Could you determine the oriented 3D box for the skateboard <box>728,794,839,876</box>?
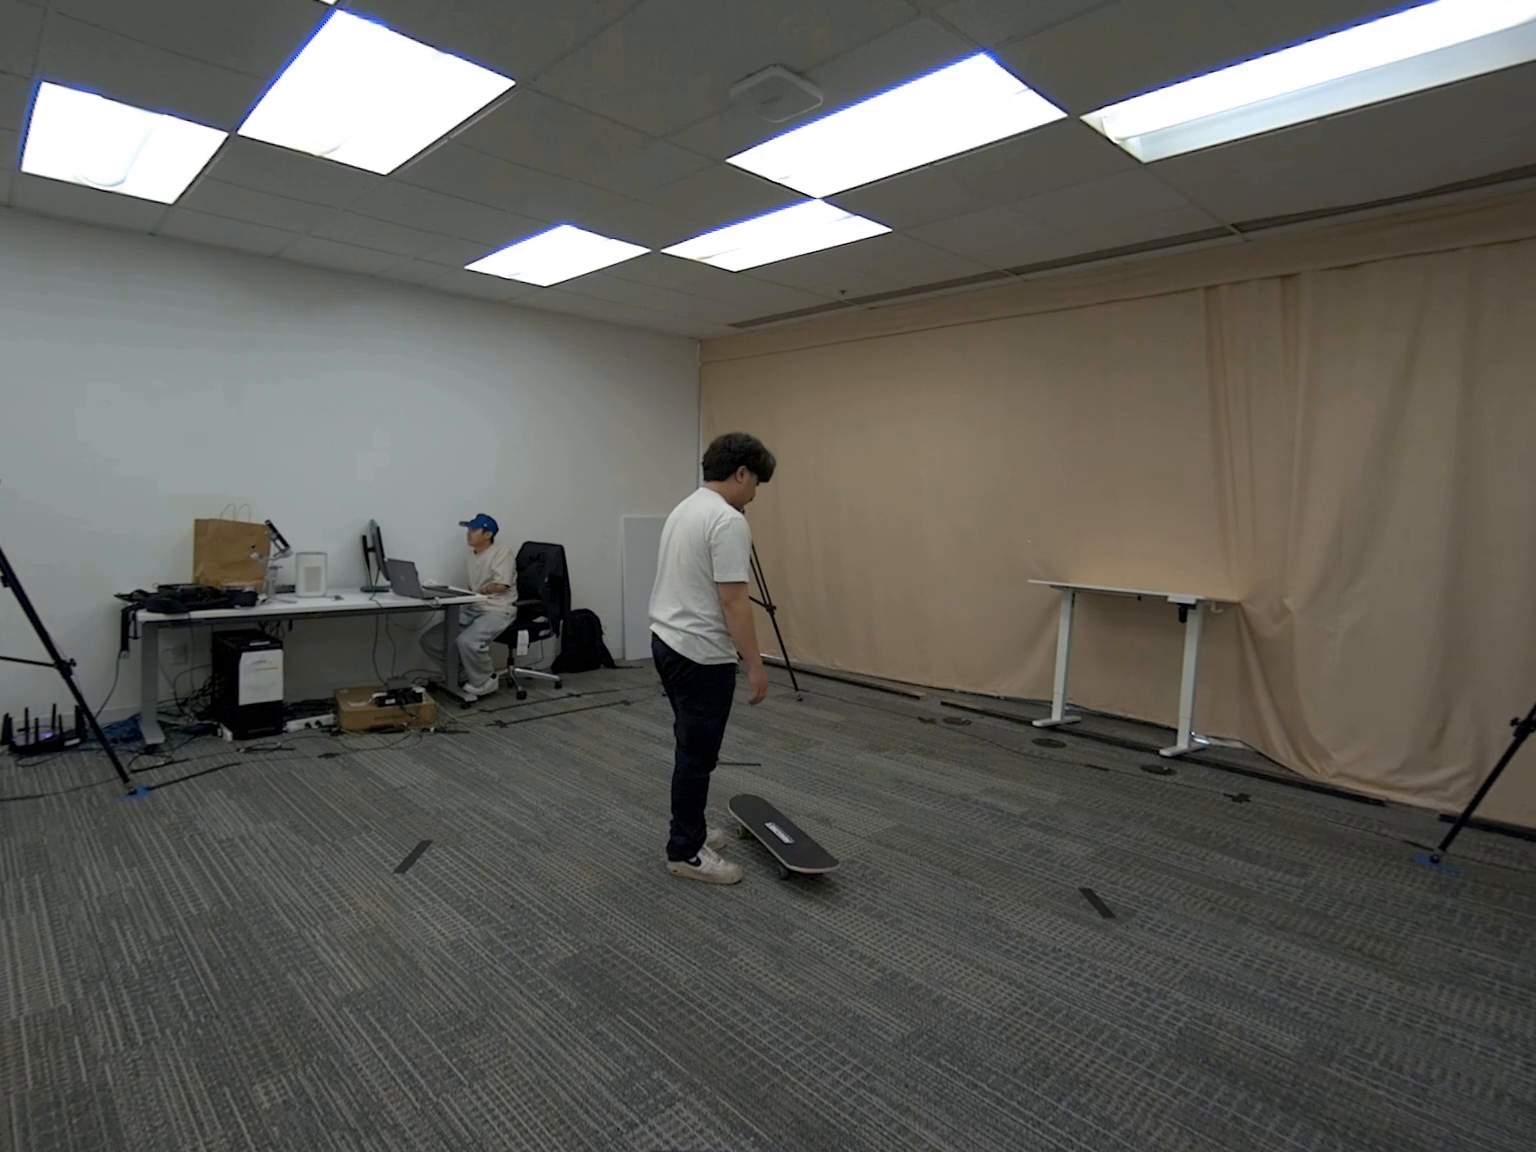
[{"bbox_3d":[0.035,1.039,3.306,0.190,0.110,0.800,-1,5,-23],"label":"skateboard"}]
